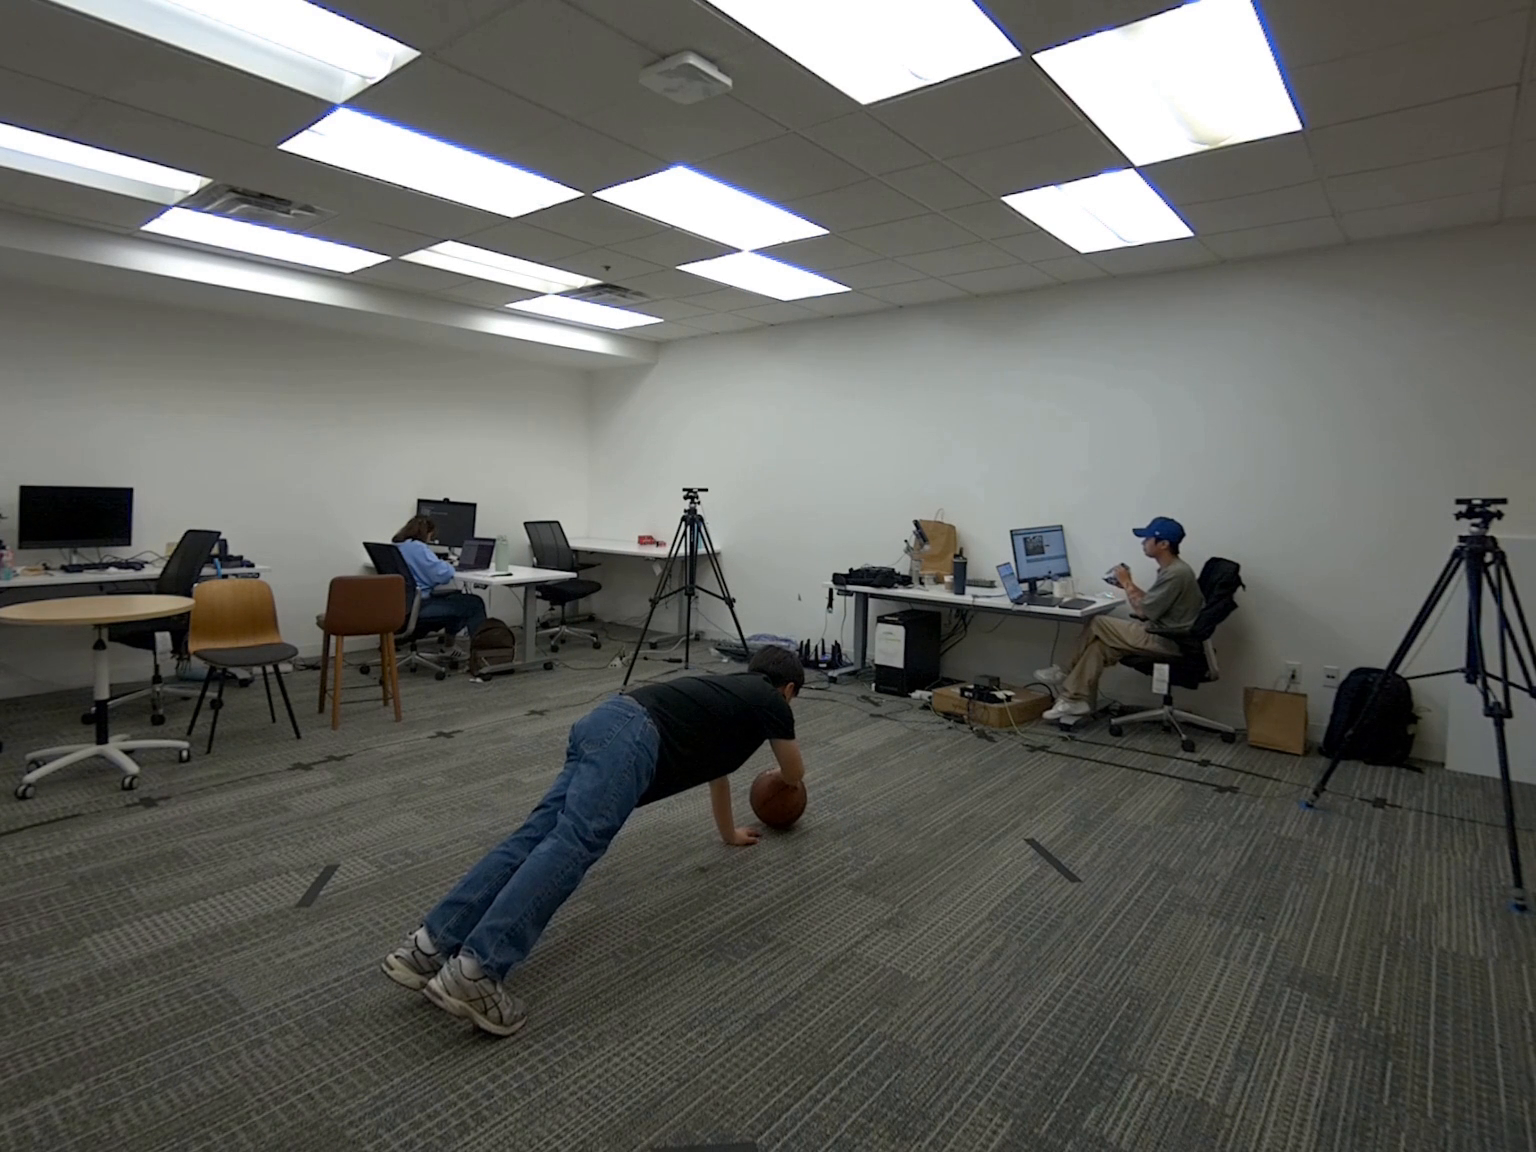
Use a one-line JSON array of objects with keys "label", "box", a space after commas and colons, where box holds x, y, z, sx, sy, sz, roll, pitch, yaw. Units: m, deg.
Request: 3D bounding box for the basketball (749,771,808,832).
[{"label": "basketball", "box": [0.030, 0.910, 3.529, 0.235, 0.235, 0.237, 1, 4, -2]}]
